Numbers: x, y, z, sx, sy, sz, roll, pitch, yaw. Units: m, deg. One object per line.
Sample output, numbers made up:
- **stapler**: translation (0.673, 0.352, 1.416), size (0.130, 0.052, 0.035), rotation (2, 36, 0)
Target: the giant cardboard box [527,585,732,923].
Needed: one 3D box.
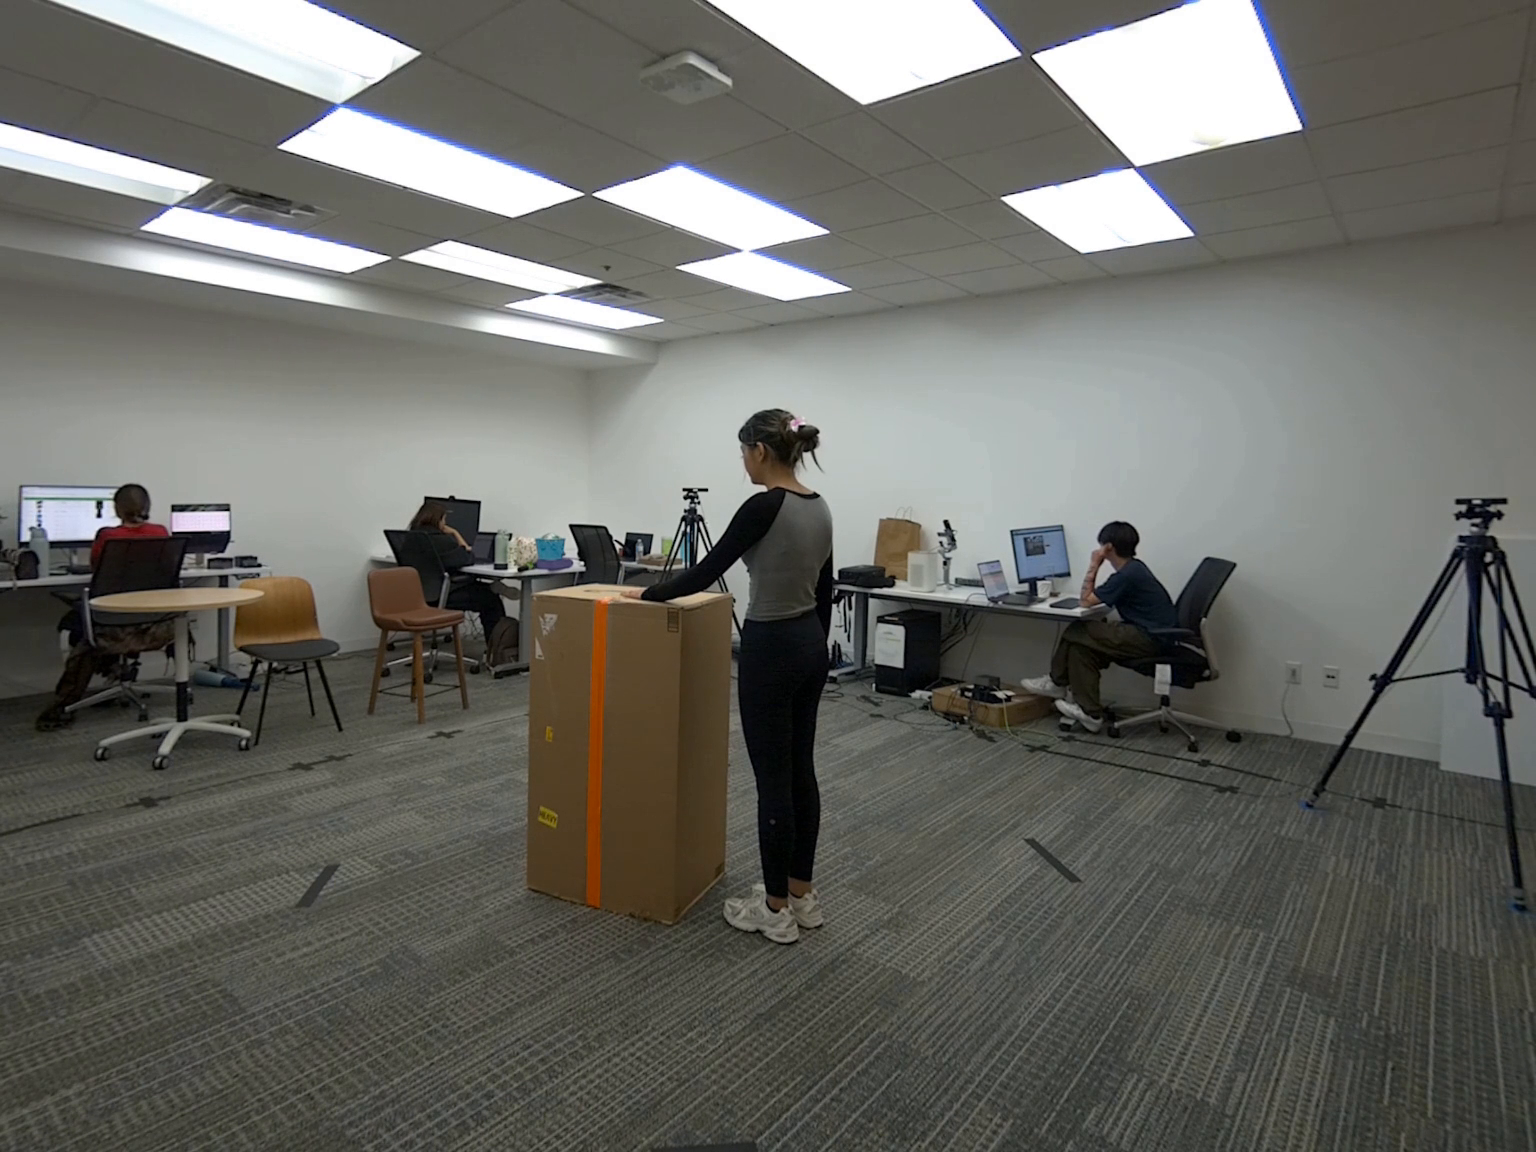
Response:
- **giant cardboard box**: translation (-0.494, 0.572, 2.979), size (0.598, 1.025, 0.437), rotation (3, 2, 22)
